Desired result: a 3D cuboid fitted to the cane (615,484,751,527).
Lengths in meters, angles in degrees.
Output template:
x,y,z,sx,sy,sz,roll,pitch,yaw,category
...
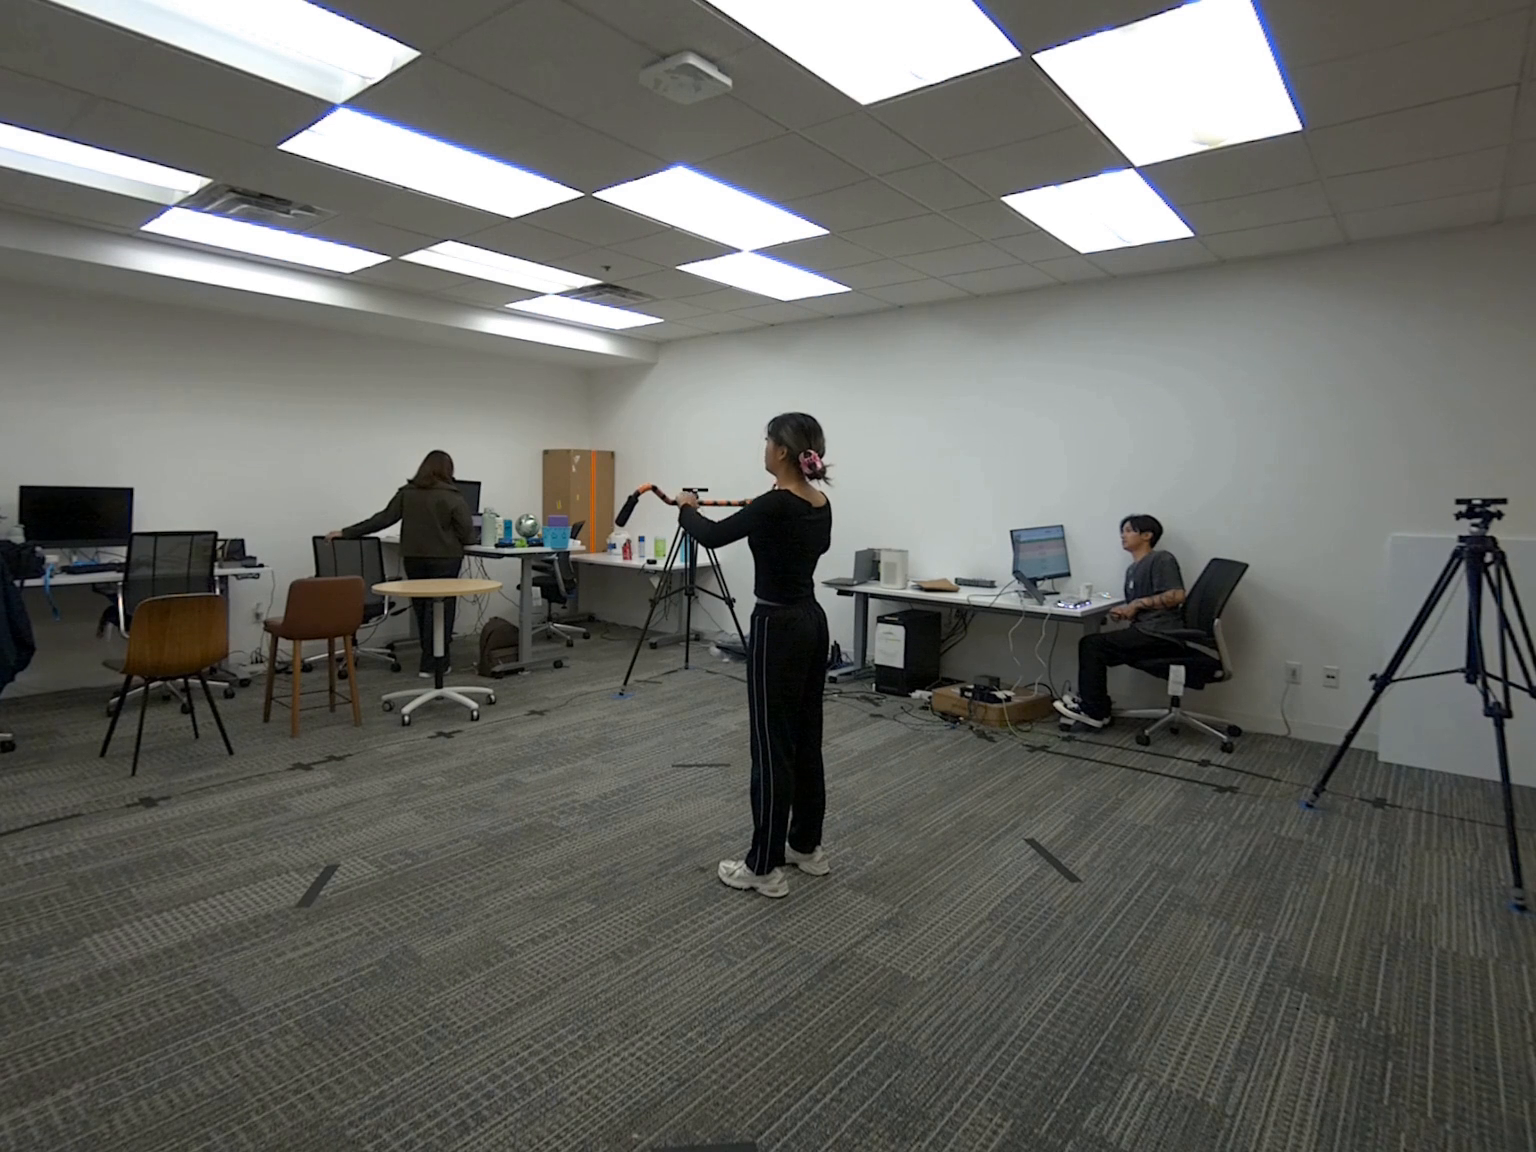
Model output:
x,y,z,sx,sy,sz,roll,pitch,yaw,category
-0.212,-0.262,3.107,0.157,0.205,0.882,44,26,24,cane
